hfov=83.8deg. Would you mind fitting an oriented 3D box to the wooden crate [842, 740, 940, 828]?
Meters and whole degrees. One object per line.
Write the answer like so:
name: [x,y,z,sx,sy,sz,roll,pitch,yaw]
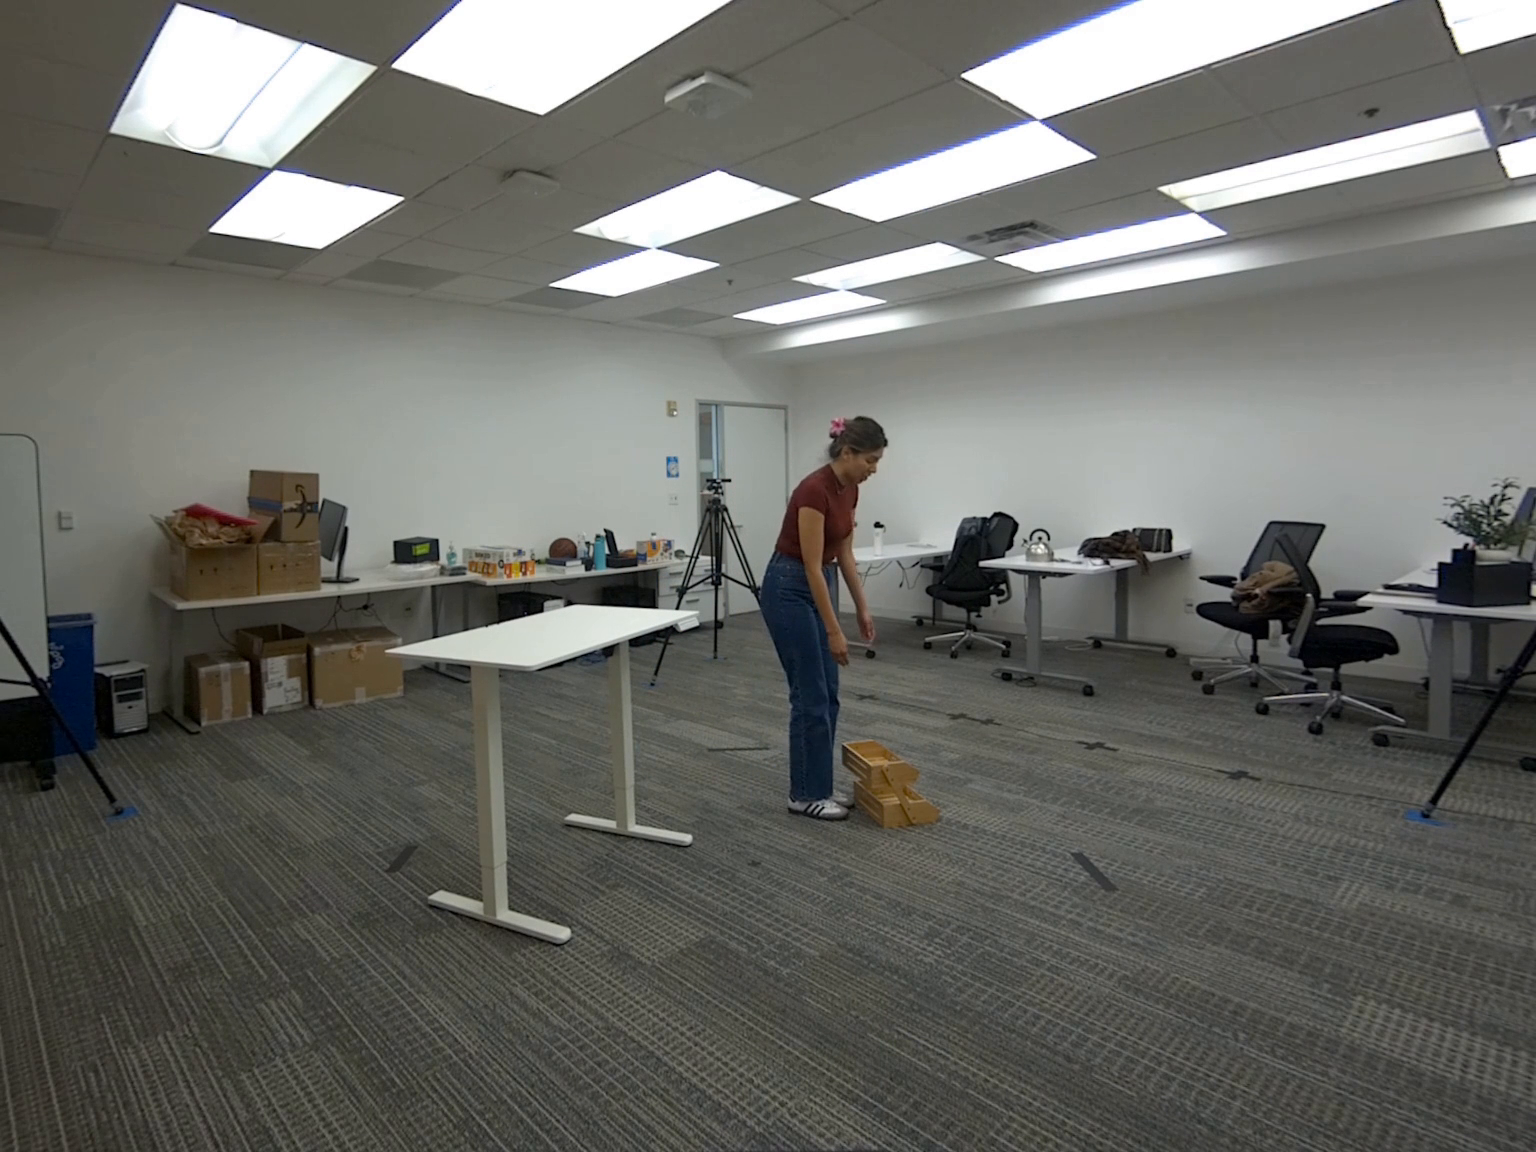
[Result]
wooden crate: [0.504,0.843,3.556,0.298,0.272,0.331,-3,6,-16]
